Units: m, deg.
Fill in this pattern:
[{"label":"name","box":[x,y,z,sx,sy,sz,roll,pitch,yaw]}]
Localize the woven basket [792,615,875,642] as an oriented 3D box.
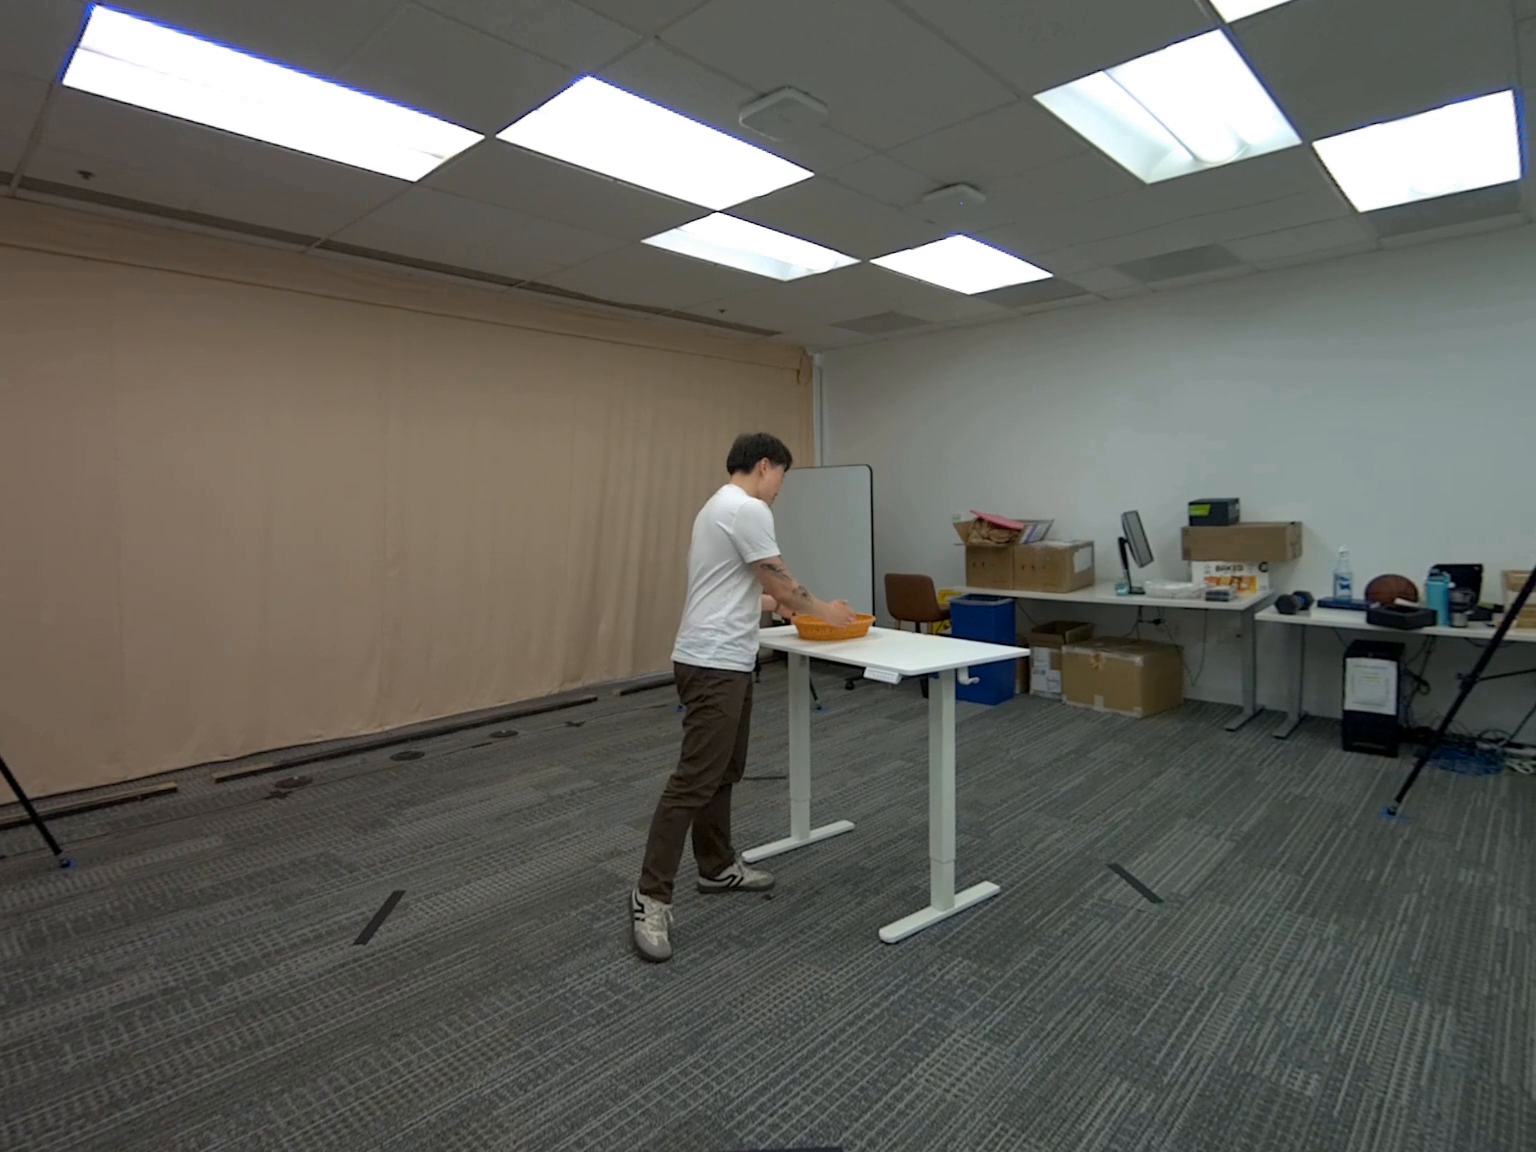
[{"label":"woven basket","box":[0.273,0.202,3.240,0.342,0.073,0.259,-3,6,-27]}]
